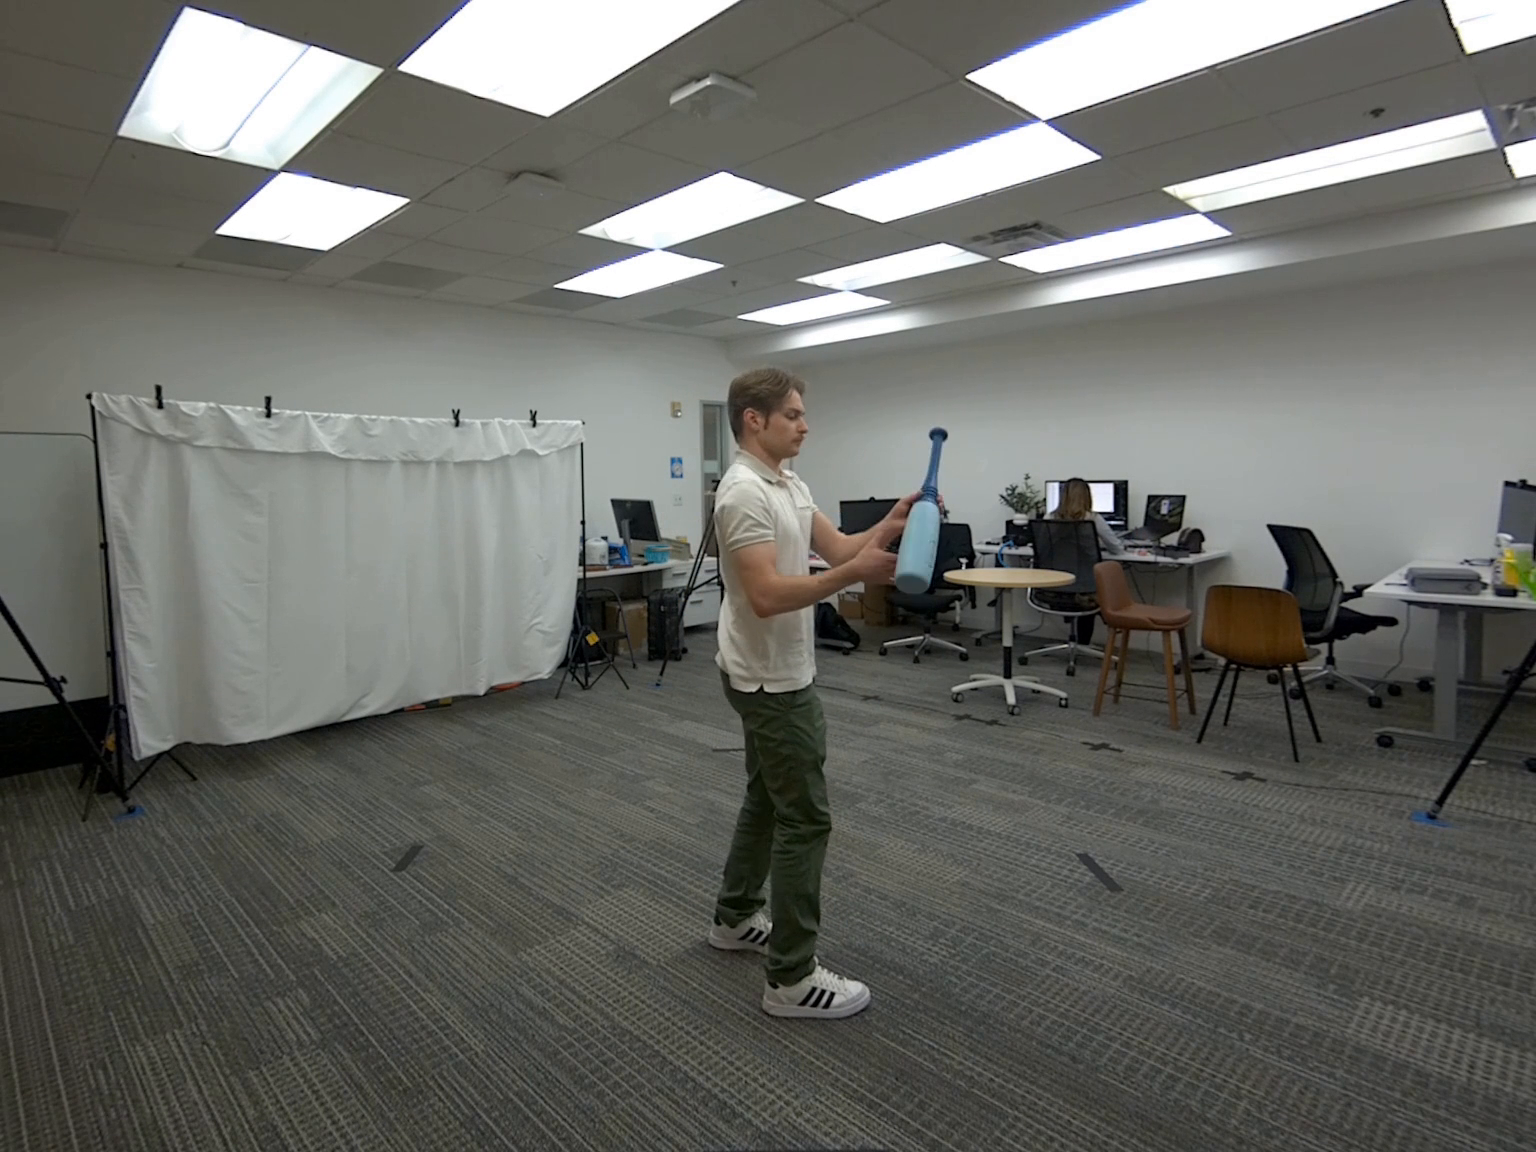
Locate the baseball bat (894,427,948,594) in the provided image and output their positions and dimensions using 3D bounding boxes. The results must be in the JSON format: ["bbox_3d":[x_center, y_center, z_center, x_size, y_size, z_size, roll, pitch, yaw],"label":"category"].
[{"bbox_3d":[0.413,-0.189,2.213,0.091,0.552,0.086,0,-41,19],"label":"baseball bat"}]
